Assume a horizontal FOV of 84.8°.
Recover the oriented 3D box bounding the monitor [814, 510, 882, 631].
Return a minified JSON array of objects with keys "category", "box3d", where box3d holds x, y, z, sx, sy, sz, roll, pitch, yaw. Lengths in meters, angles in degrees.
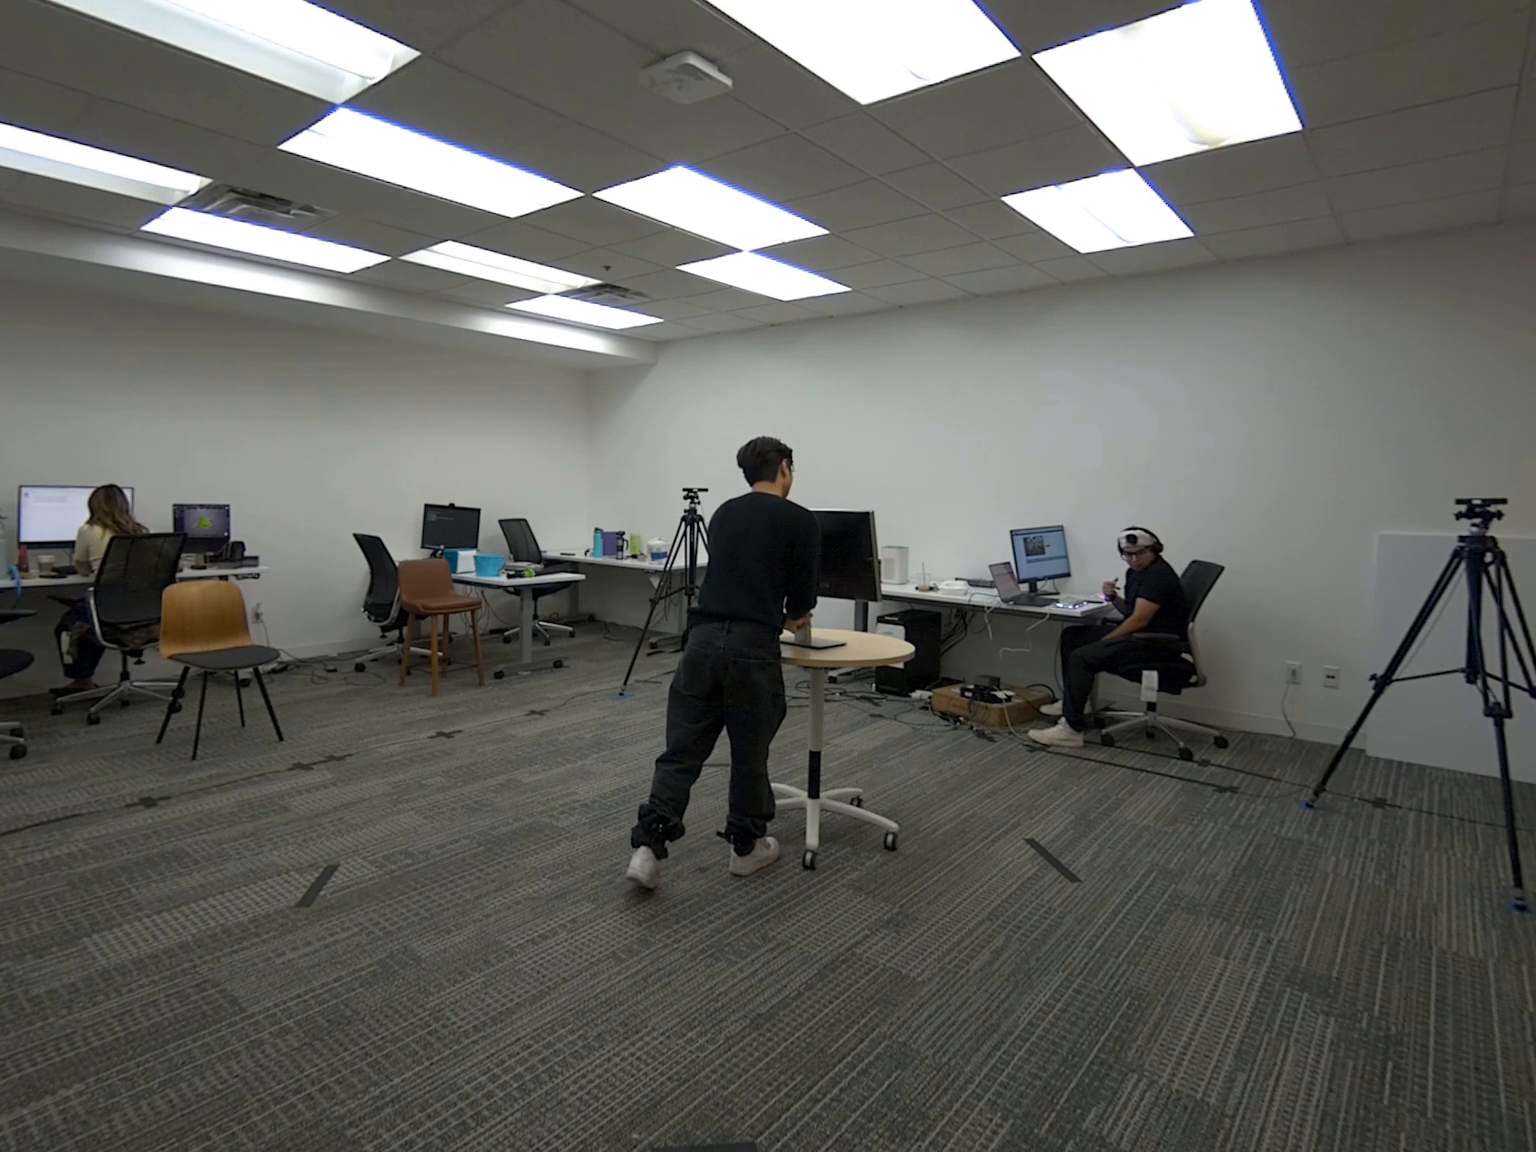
[{"category":"monitor","box3d":[0.170,-0.001,3.415,0.547,0.517,0.169,2,-2,40]}]
